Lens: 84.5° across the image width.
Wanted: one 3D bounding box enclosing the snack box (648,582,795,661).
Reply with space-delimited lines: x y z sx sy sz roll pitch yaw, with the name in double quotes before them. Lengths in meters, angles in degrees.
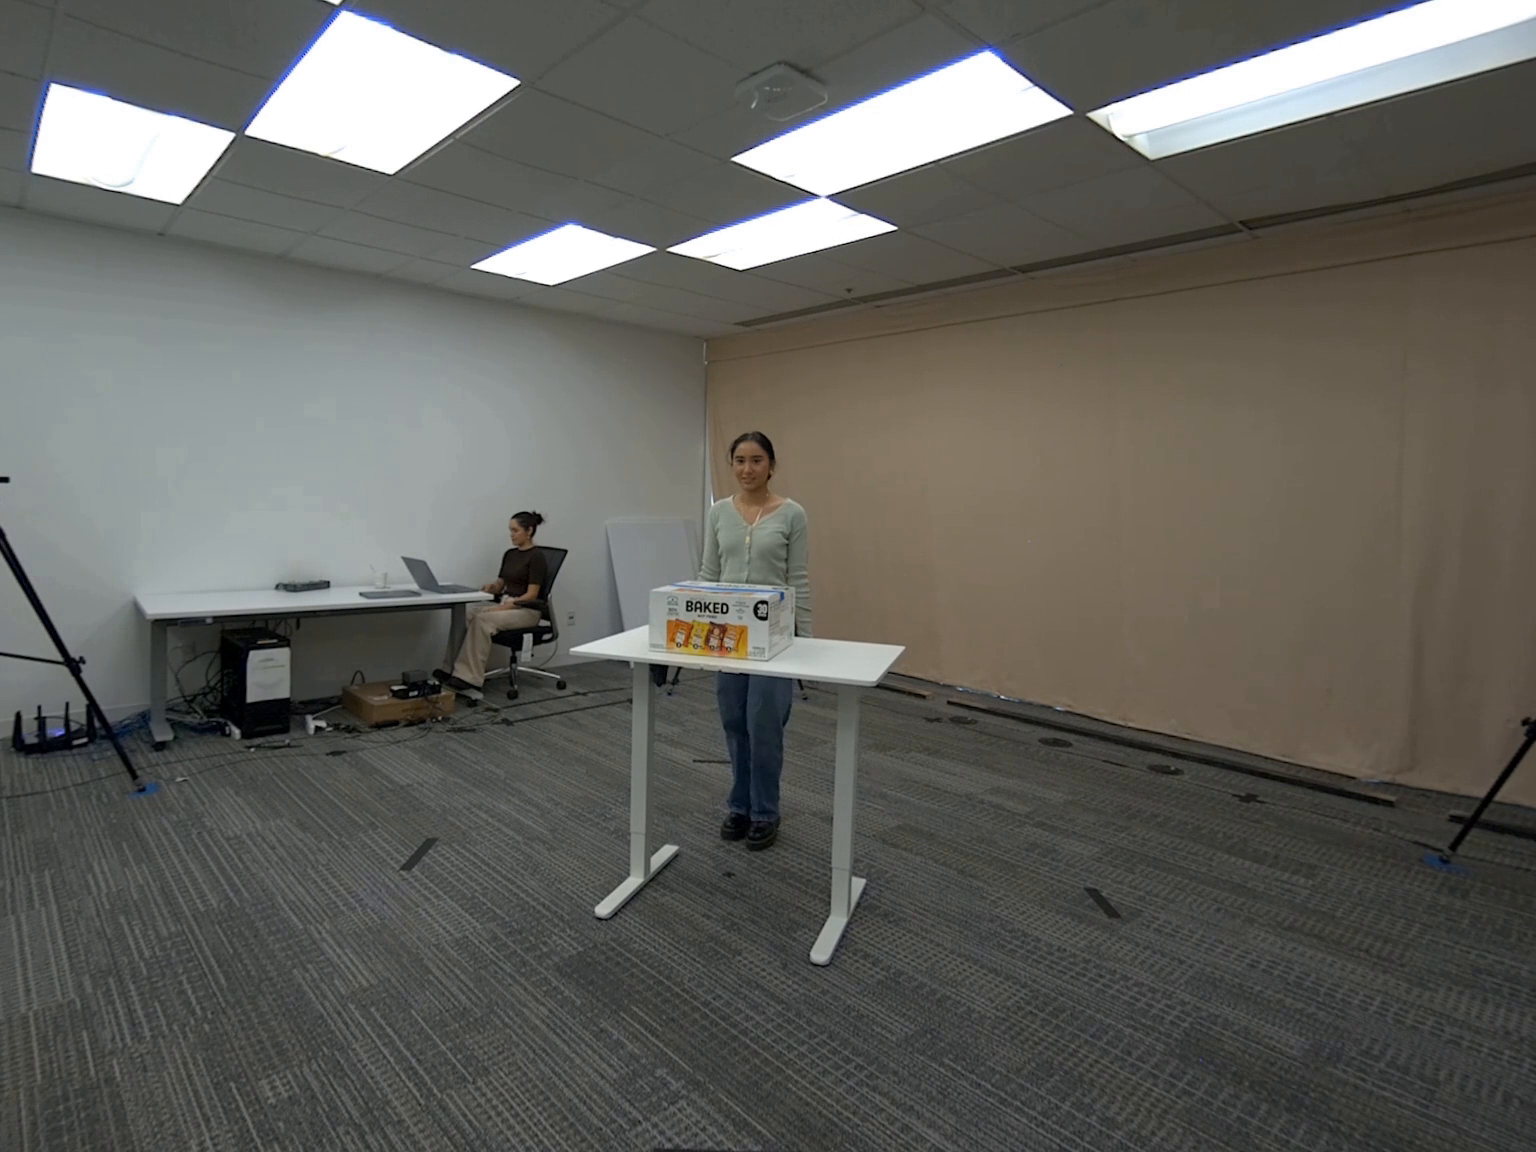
"snack box" -0.156 0.143 2.844 0.411 0.205 0.336 4 5 18
